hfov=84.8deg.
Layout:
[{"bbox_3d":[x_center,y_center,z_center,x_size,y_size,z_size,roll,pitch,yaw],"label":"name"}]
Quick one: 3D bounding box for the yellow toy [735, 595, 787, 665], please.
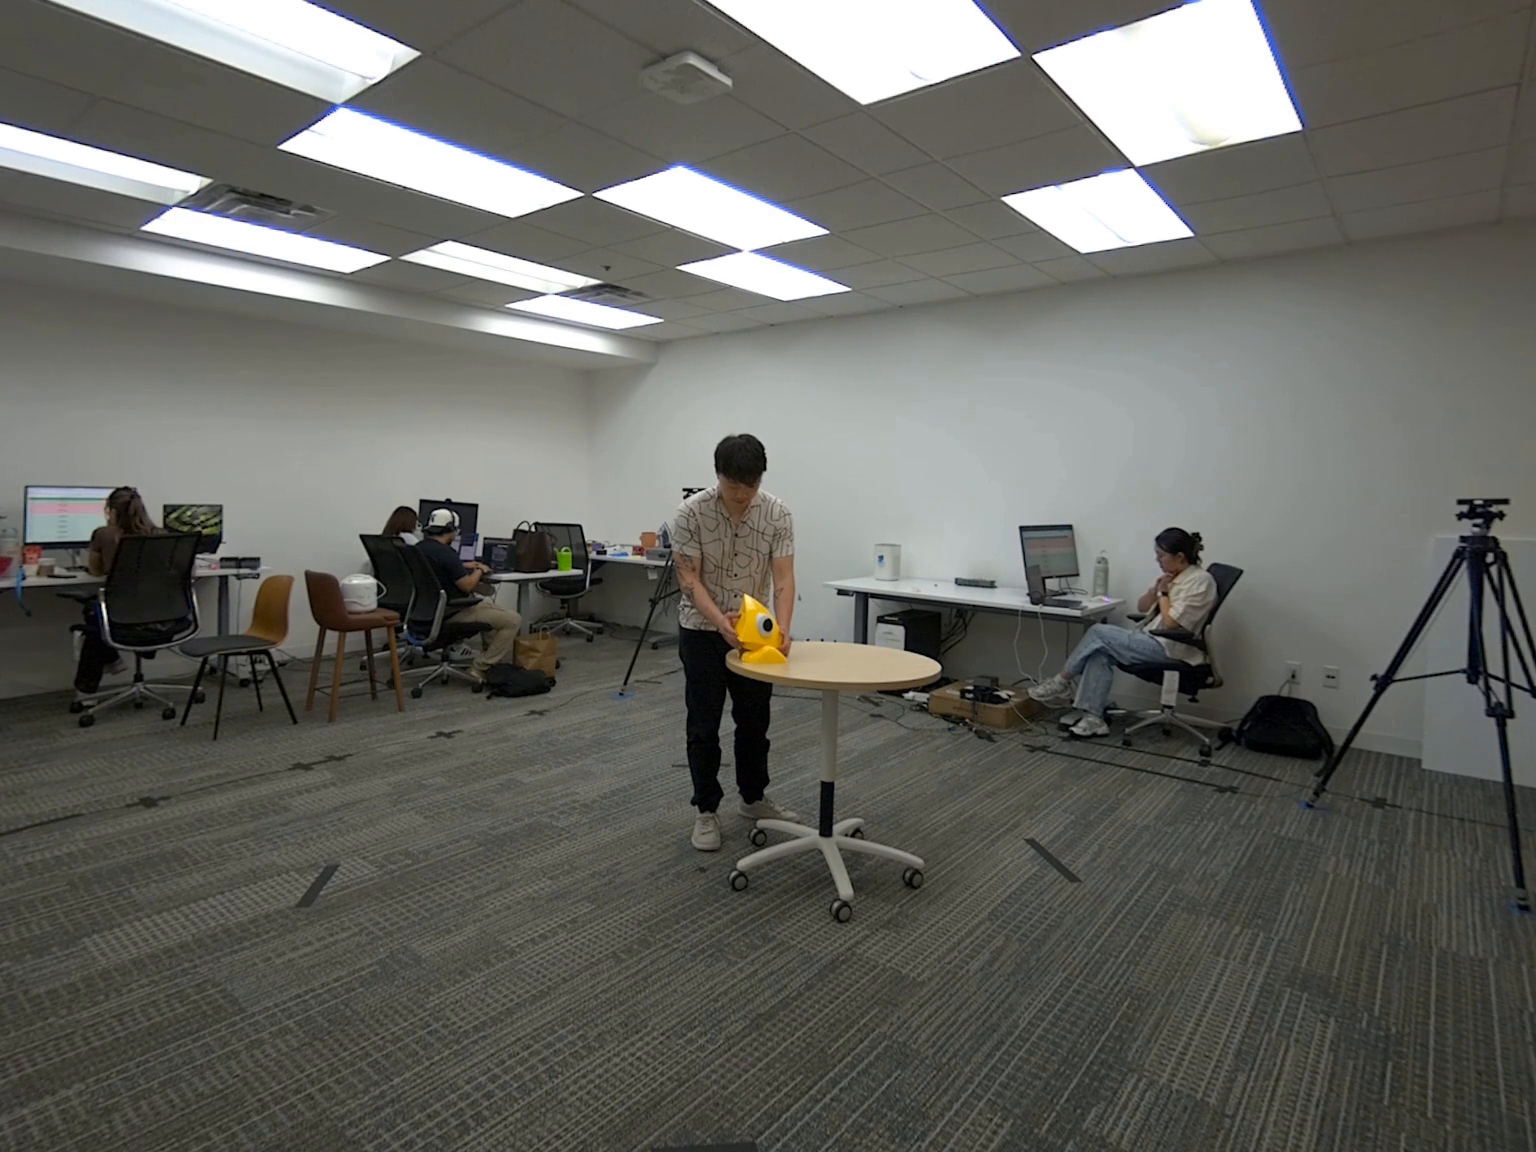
[{"bbox_3d":[-0.040,0.173,3.049,0.191,0.230,0.208,-1,4,-11],"label":"yellow toy"}]
